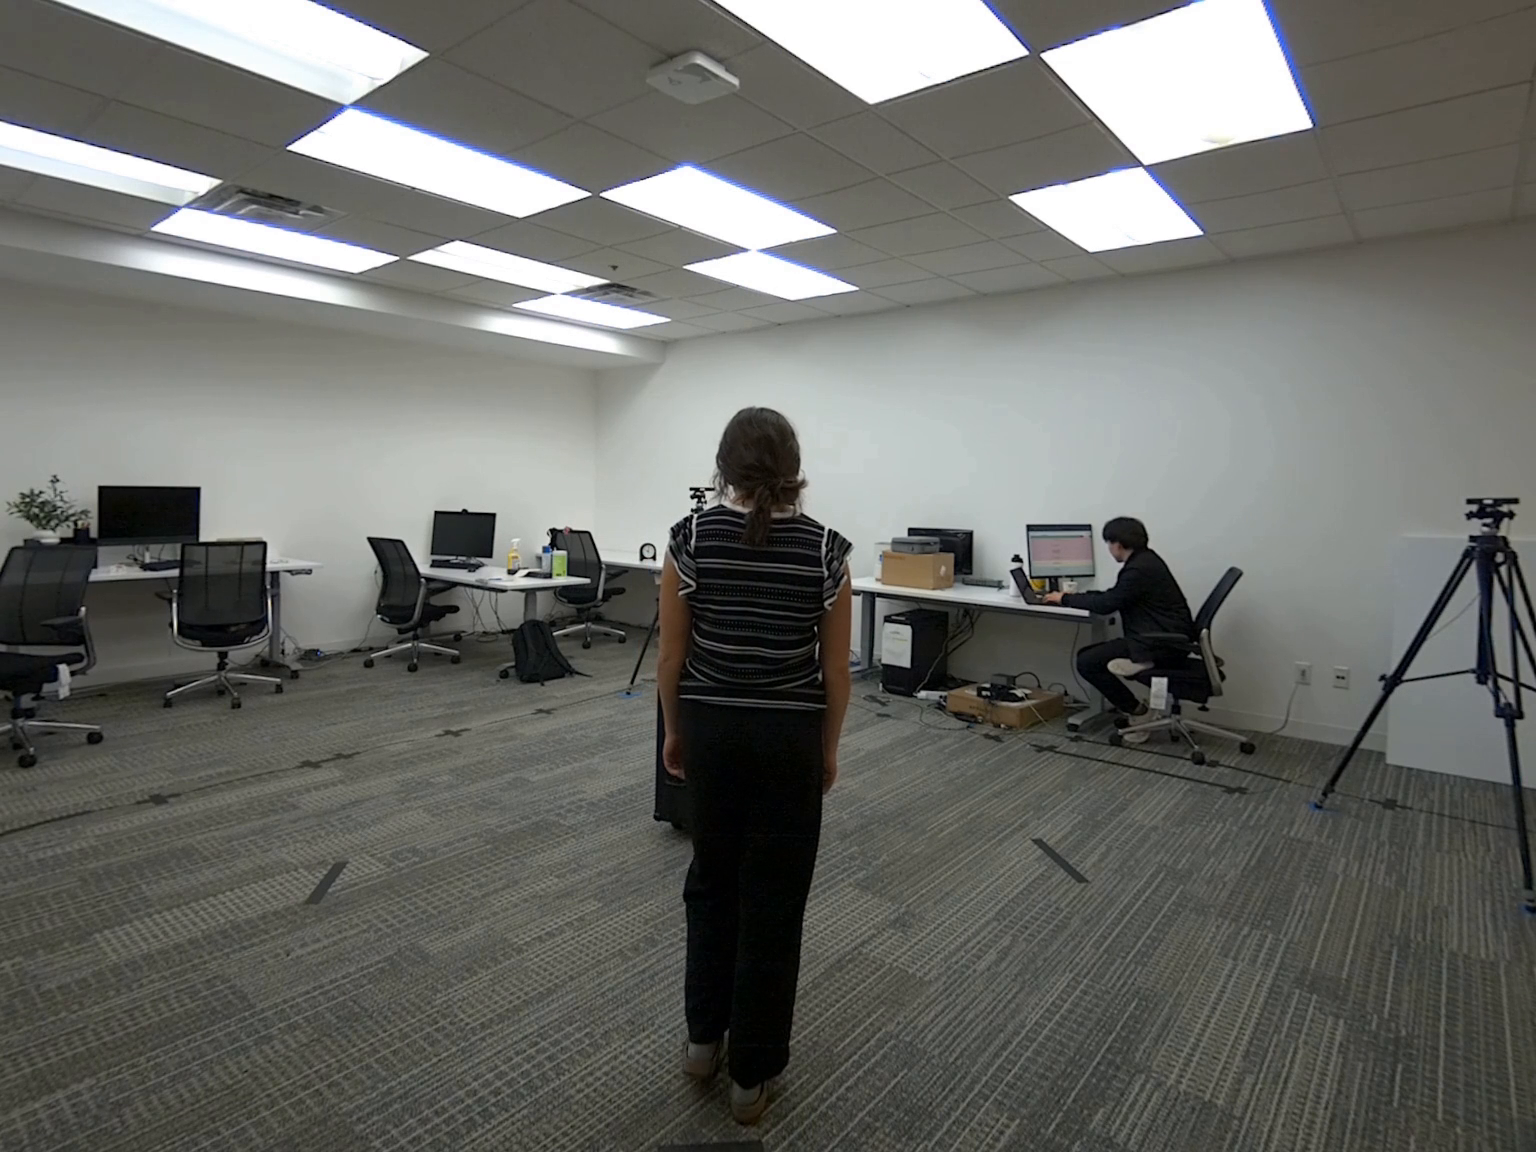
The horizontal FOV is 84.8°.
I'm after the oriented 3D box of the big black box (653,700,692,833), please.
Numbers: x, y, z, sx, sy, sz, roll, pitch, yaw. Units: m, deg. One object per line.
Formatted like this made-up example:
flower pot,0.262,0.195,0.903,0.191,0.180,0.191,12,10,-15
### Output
big black box,-0.205,0.595,3.520,0.404,0.859,0.512,3,4,18
